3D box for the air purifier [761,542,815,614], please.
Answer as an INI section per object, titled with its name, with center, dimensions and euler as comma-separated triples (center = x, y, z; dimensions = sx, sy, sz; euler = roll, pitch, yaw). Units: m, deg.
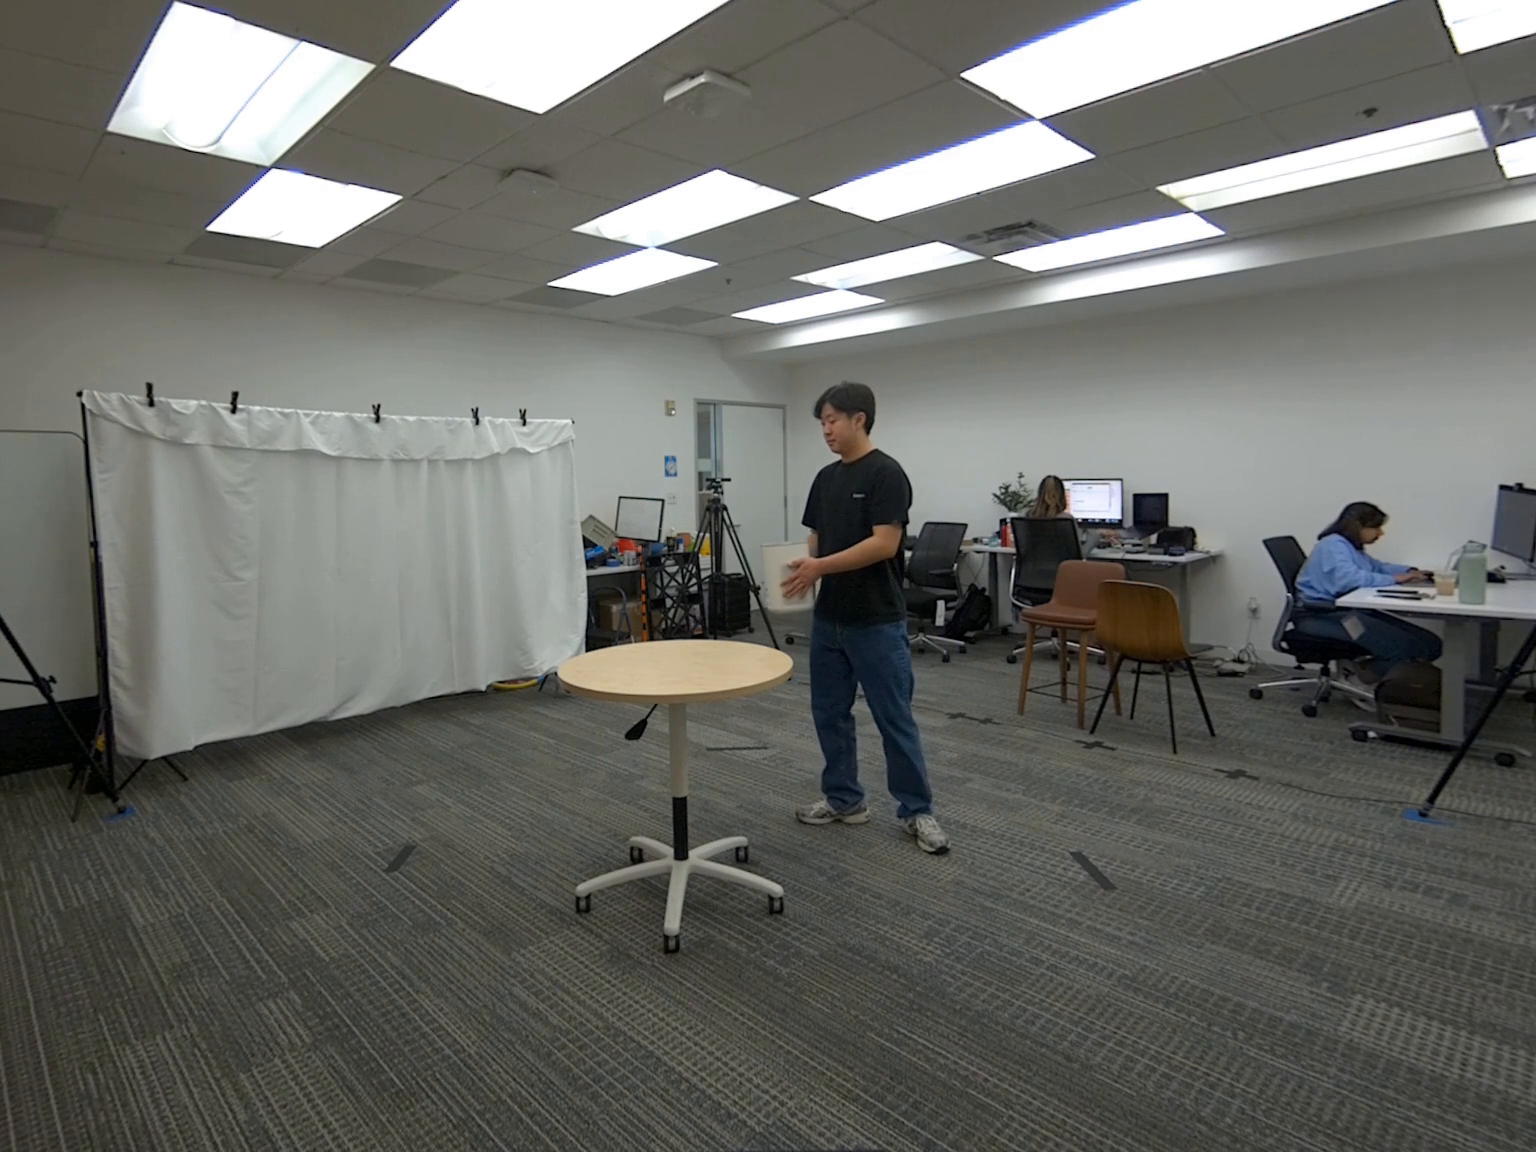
[air purifier]
center = 0.083, 0.004, 3.256
dimensions = 0.171, 0.265, 0.172
euler = -4, 3, -4
